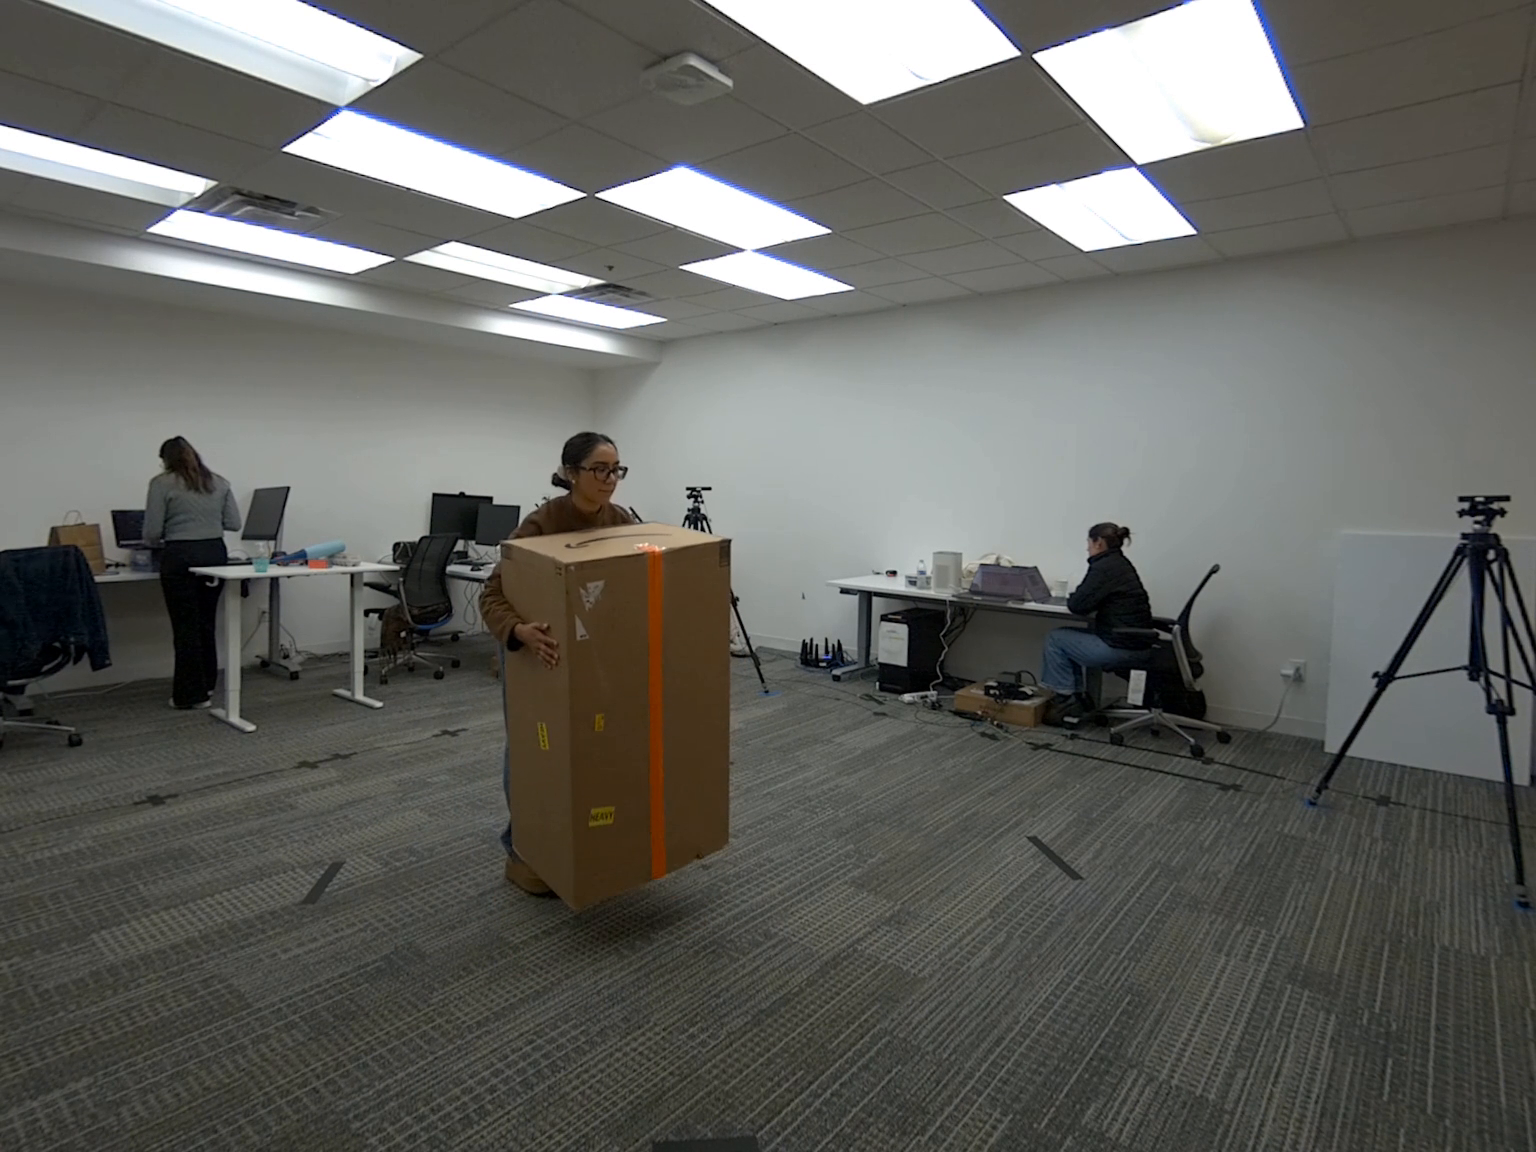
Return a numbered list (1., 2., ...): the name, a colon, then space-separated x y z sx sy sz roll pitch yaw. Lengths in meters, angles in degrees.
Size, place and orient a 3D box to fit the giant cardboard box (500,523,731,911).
1. giant cardboard box: -0.486 0.396 2.675 0.562 1.016 0.442 -8 13 -40
